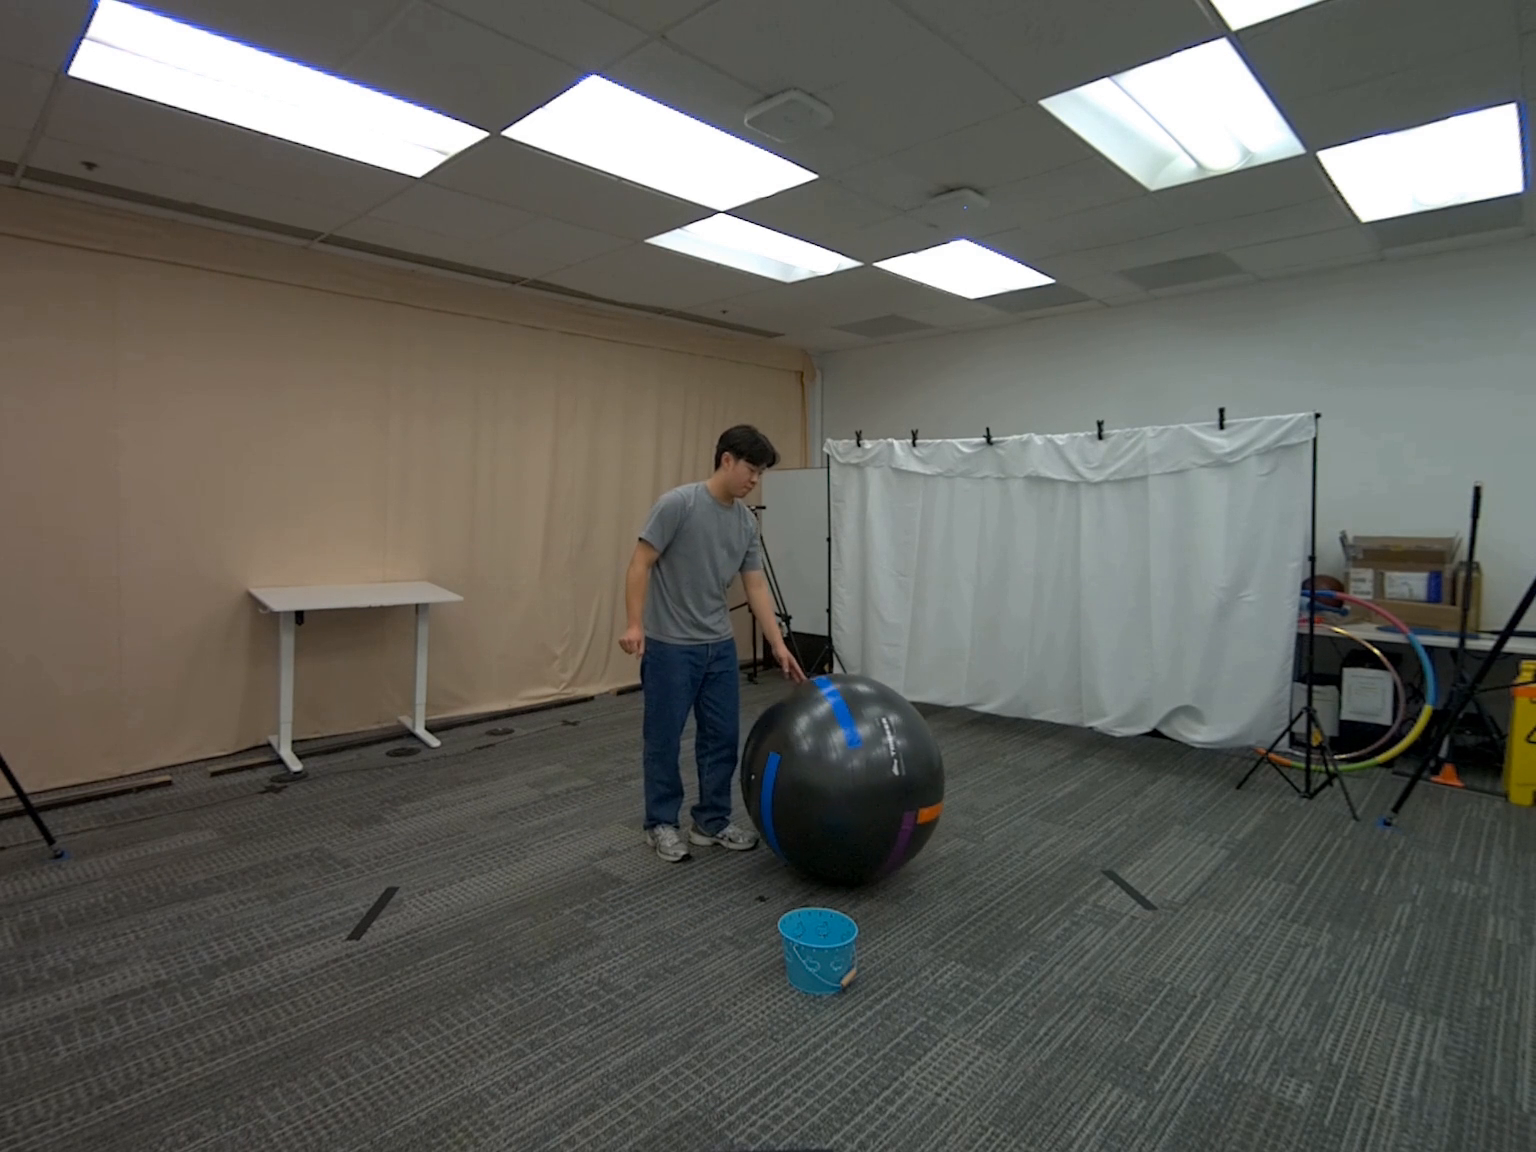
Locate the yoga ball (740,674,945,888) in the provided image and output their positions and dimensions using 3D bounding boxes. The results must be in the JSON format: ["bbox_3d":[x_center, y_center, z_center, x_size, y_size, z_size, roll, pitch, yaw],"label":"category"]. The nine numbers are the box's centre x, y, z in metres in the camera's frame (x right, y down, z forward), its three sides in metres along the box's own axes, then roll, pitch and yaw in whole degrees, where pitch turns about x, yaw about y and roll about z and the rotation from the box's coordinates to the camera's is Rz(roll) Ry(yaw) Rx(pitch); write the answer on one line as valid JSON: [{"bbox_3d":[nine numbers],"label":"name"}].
[{"bbox_3d":[0.280,0.758,3.175,0.757,0.756,0.760,0,4,-2],"label":"yoga ball"}]
